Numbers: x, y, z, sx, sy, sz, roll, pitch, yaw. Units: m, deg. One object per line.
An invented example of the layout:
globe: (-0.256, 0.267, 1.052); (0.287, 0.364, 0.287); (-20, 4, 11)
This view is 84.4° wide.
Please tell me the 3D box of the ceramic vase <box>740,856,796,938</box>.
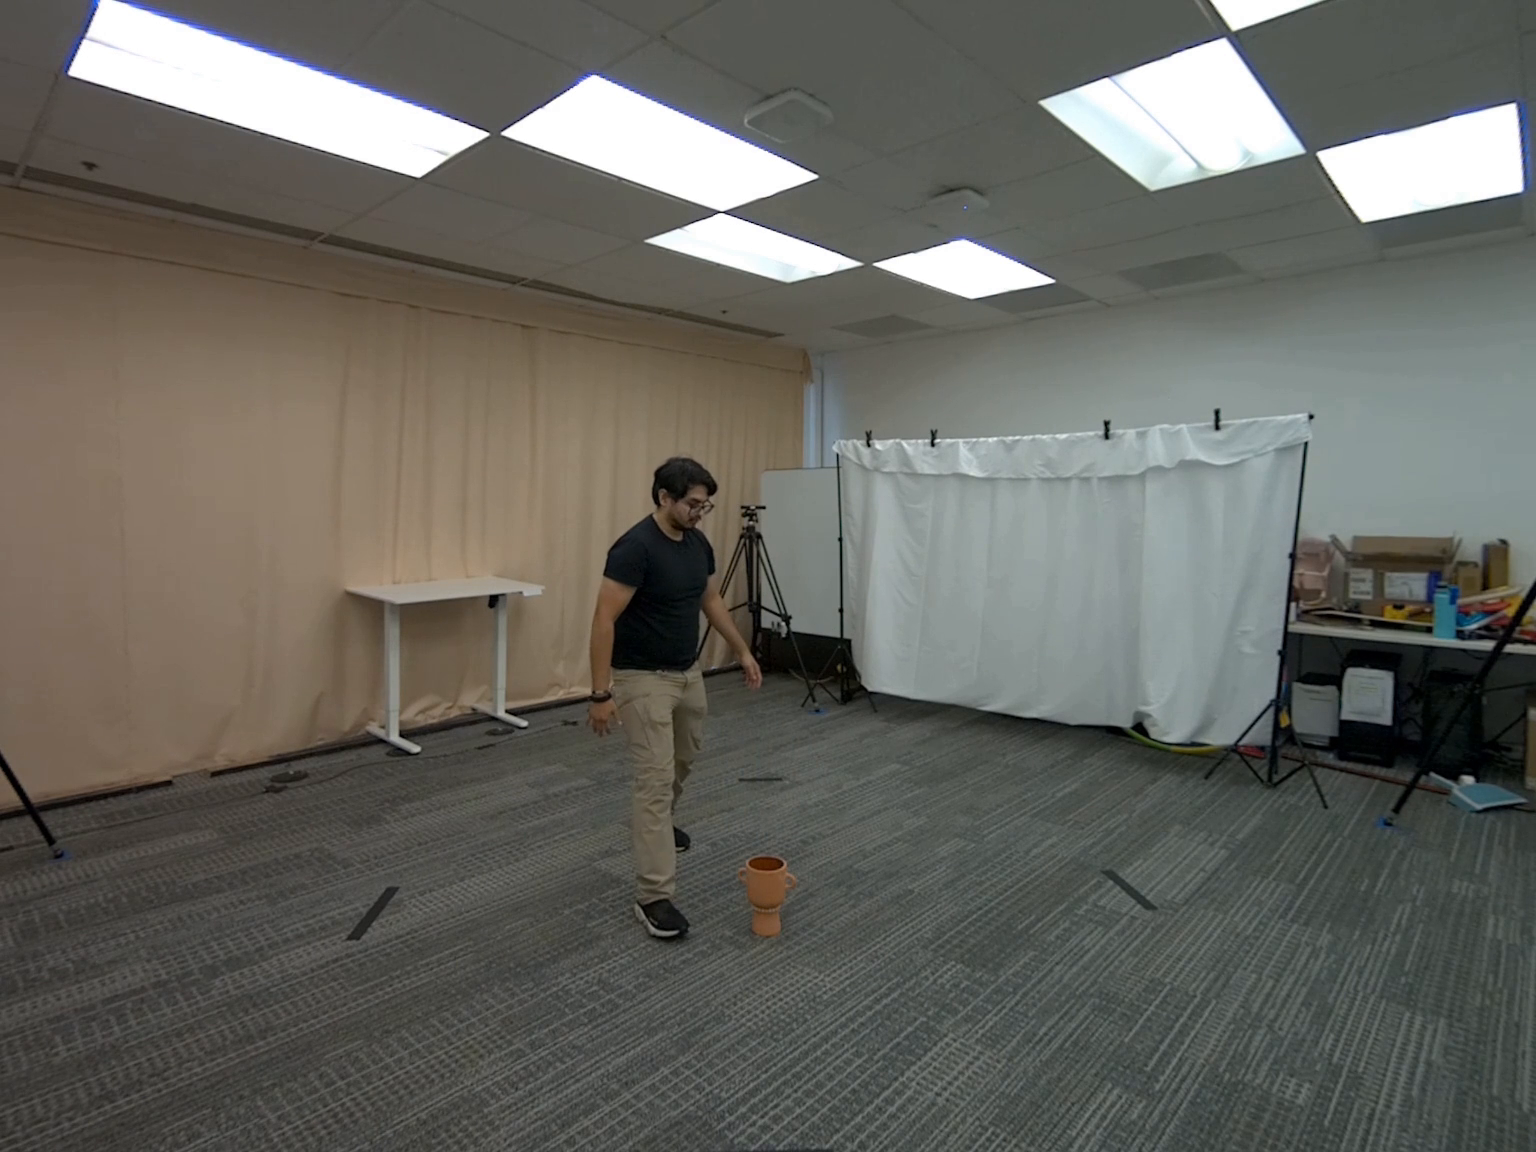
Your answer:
ceramic vase: (-0.001, 1.051, 2.758); (0.131, 0.219, 0.164); (-2, 4, -35)
